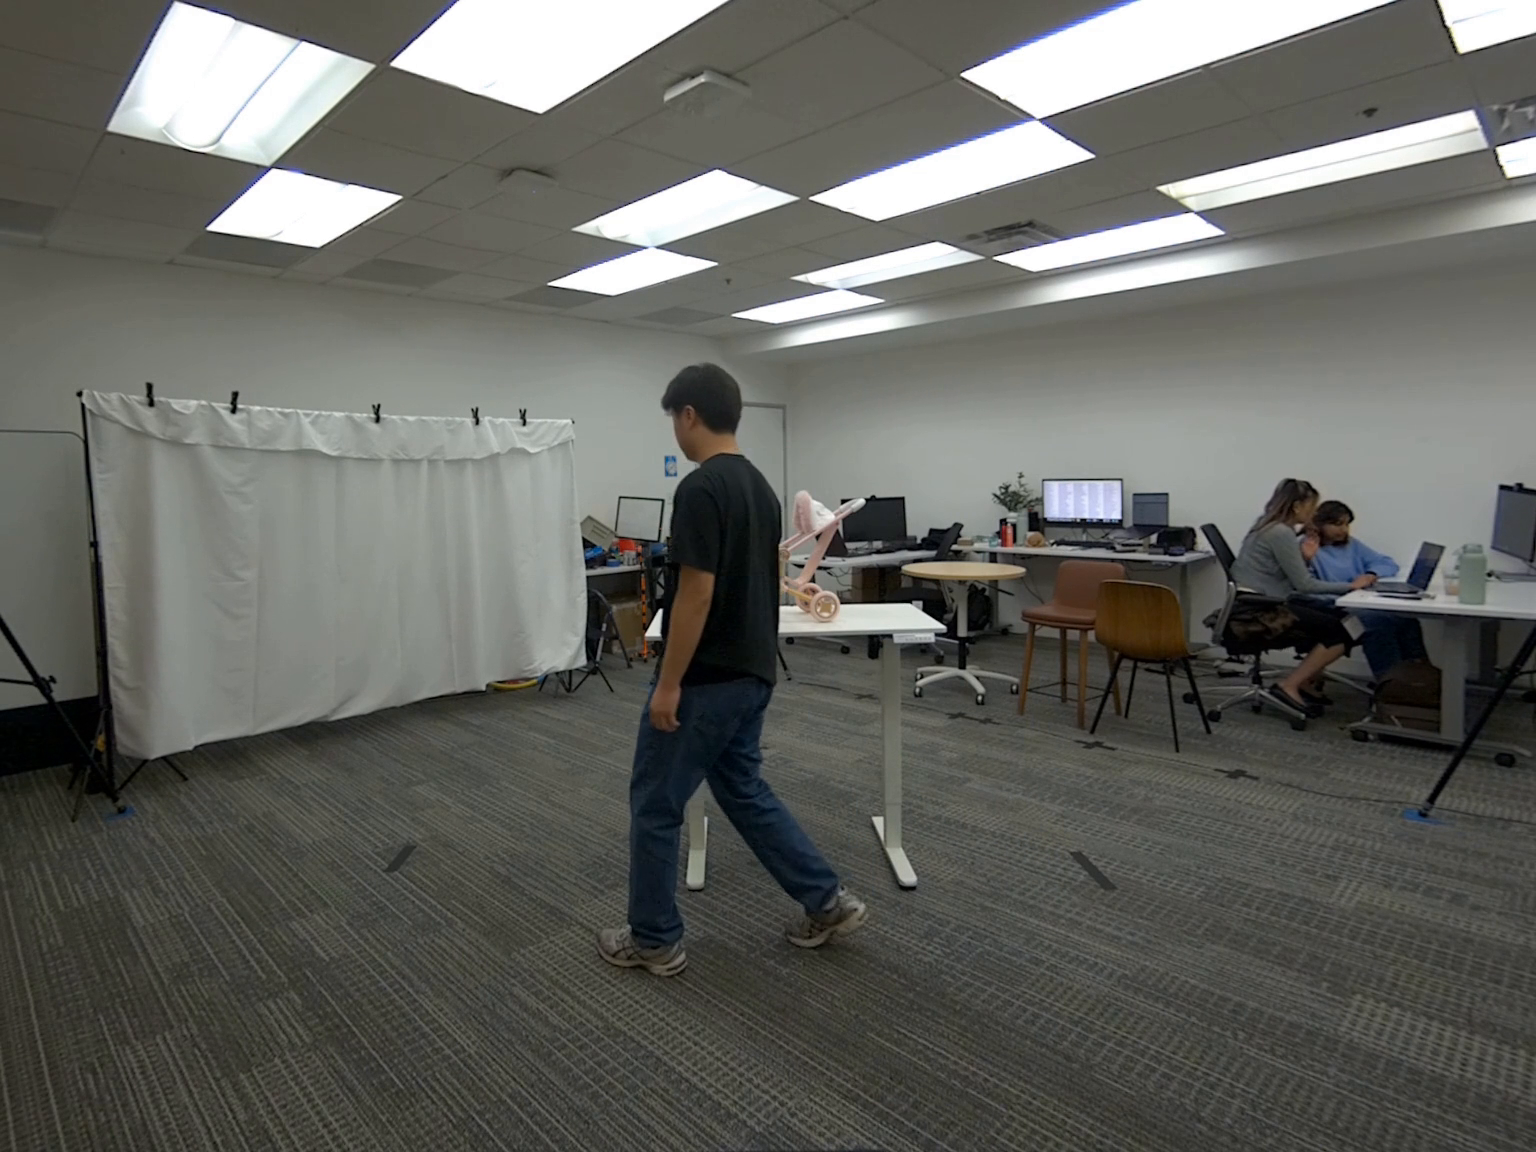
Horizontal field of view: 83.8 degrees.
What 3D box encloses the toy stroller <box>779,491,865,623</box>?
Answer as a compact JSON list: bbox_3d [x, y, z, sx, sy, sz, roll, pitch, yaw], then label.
[{"bbox_3d":[0.116,-0.069,3.118,0.340,0.534,0.283,14,3,-5],"label":"toy stroller"}]
